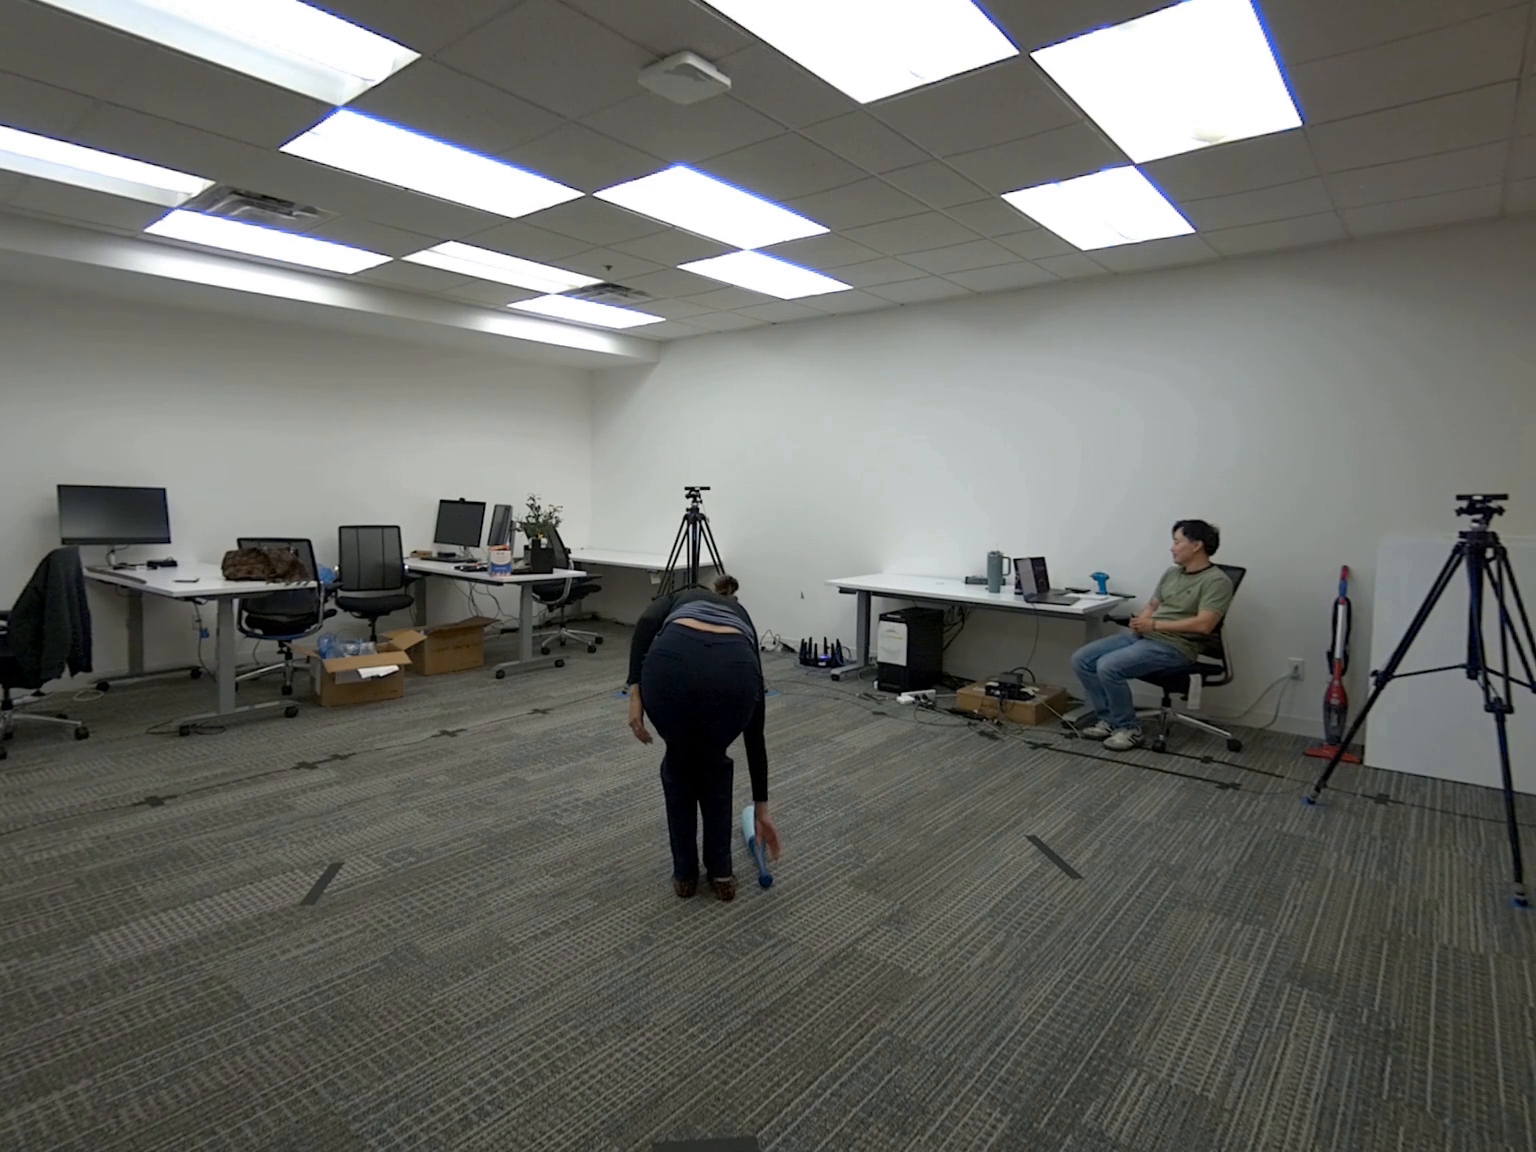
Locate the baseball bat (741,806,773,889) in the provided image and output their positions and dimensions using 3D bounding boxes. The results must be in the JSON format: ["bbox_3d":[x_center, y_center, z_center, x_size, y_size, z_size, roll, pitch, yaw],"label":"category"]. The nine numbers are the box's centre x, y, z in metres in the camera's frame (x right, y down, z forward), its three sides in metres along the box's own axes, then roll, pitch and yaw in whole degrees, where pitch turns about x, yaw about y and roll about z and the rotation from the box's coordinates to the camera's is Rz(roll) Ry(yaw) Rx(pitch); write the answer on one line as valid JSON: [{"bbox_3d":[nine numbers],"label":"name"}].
[{"bbox_3d":[-0.046,1.020,3.224,0.088,0.088,0.551,0,9,-8],"label":"baseball bat"}]
